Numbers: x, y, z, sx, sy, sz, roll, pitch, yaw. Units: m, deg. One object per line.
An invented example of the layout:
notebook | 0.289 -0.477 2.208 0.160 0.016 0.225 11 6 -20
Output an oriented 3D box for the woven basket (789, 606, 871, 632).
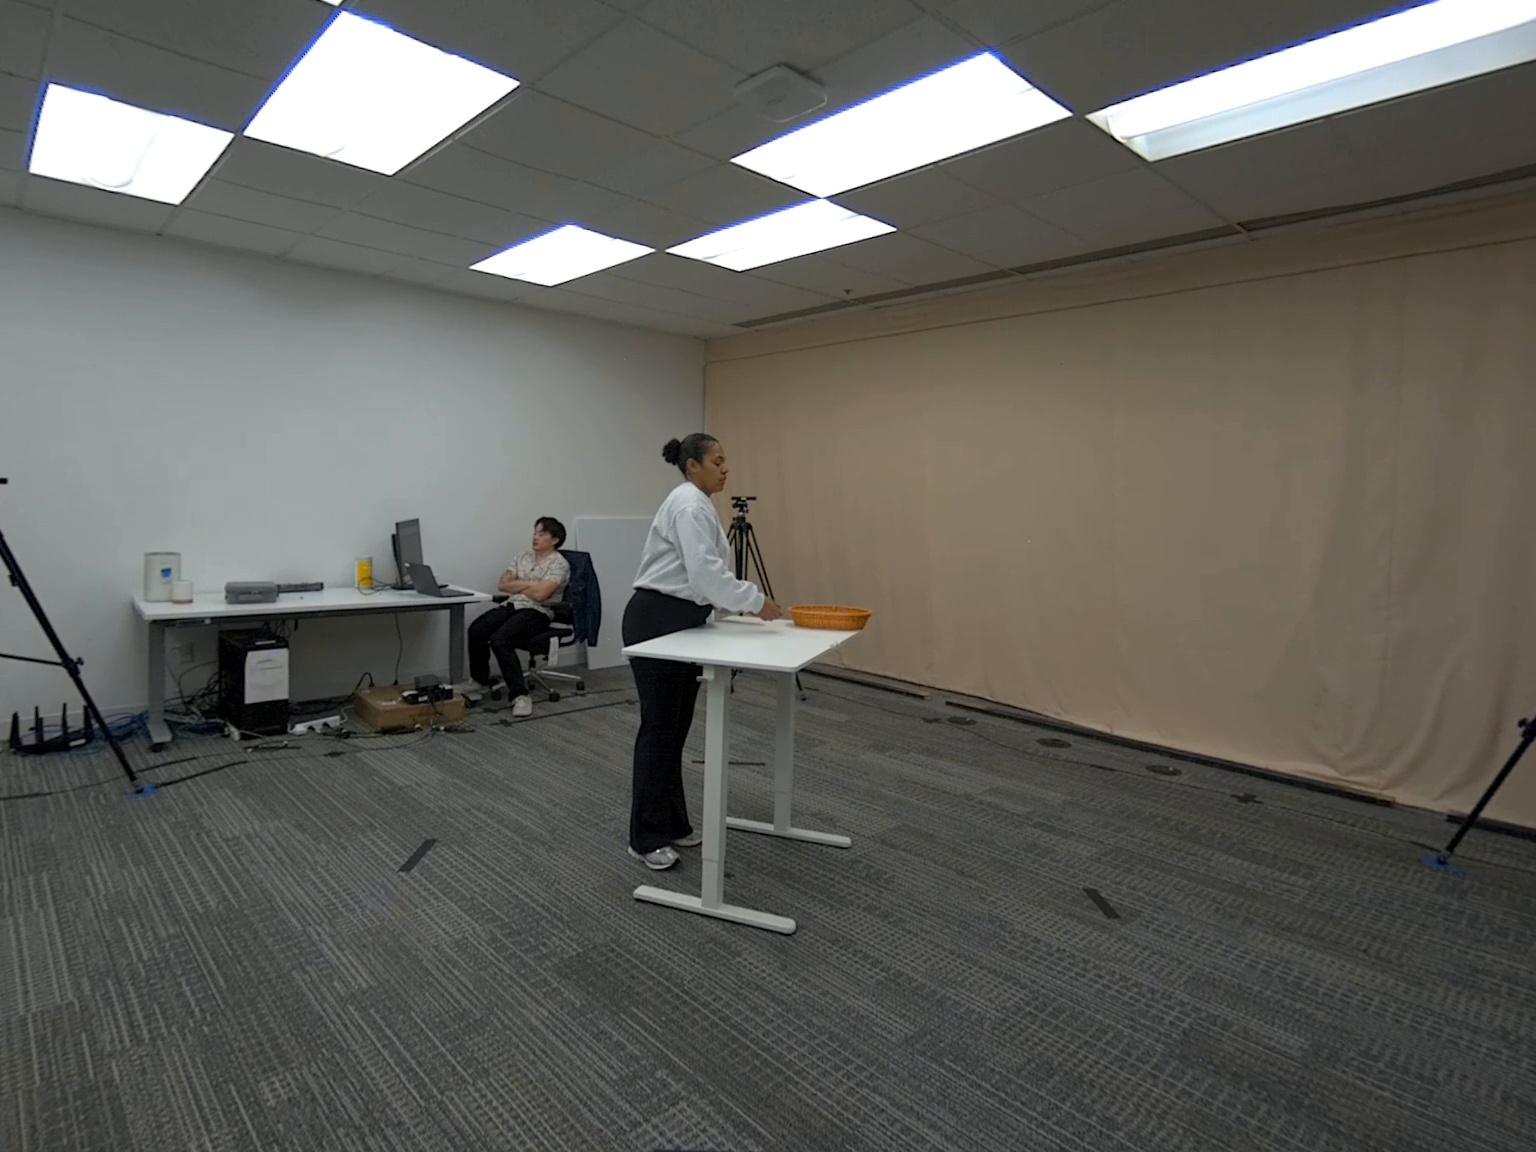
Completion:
woven basket | 0.235 0.175 3.437 0.354 0.073 0.250 2 5 13
